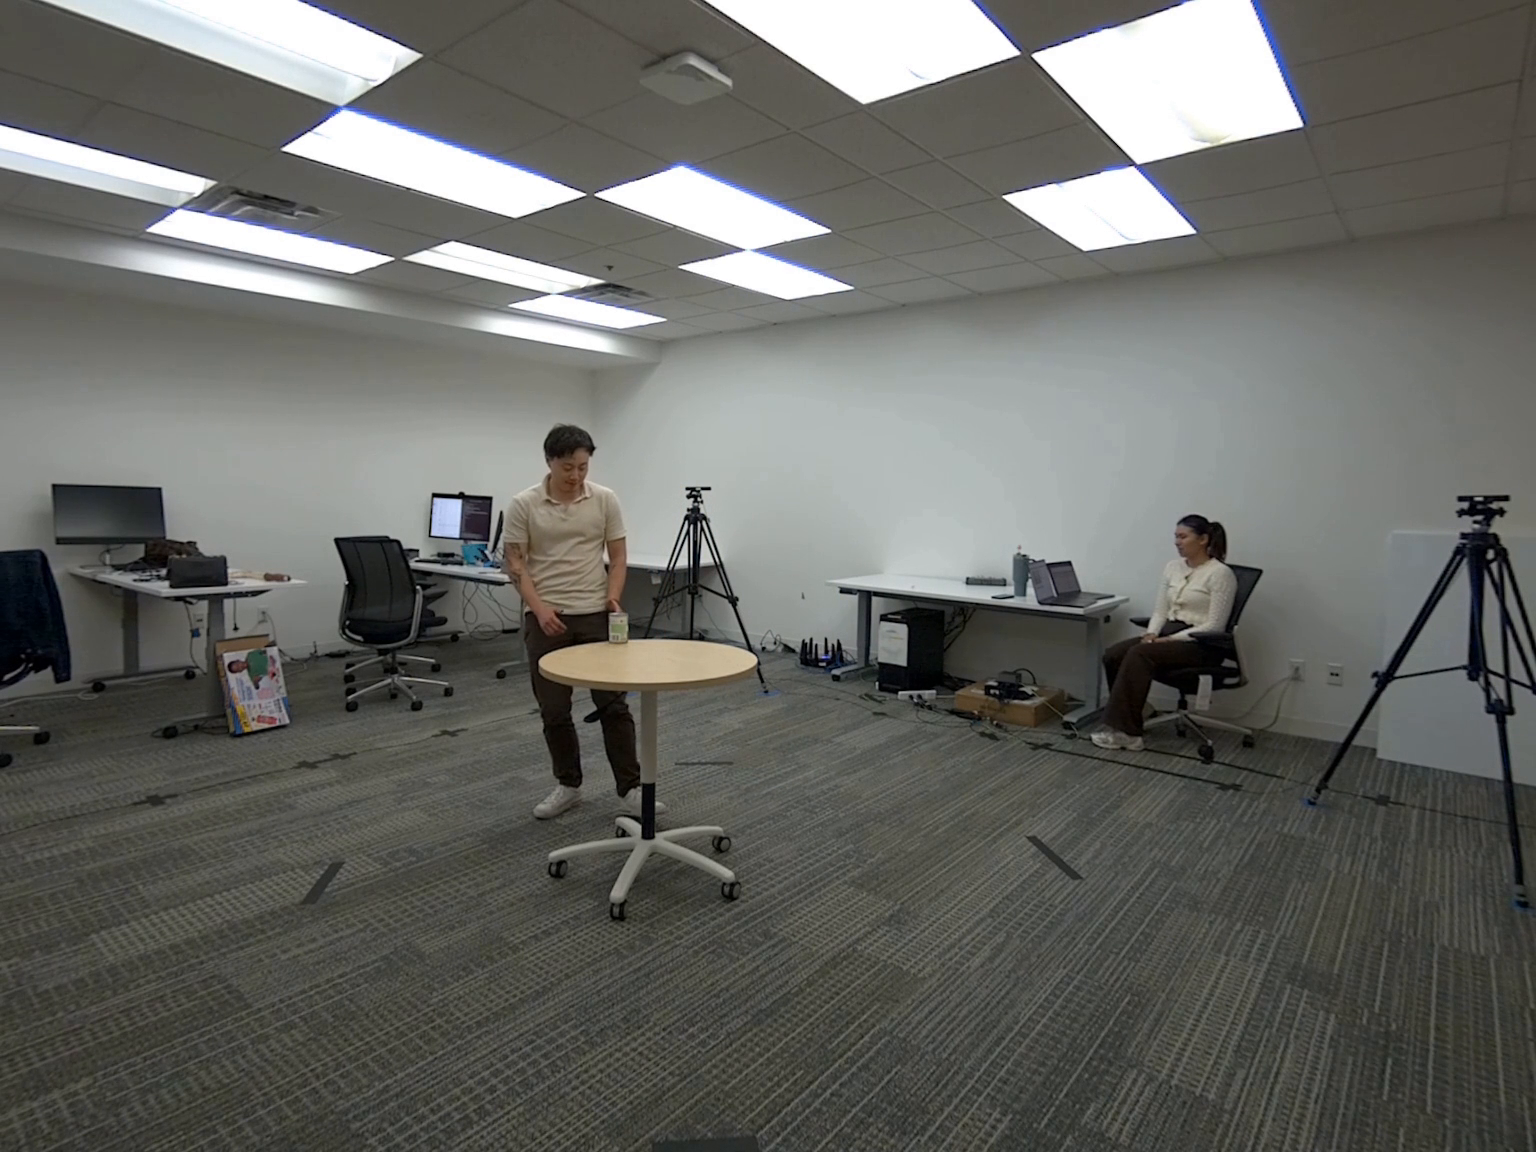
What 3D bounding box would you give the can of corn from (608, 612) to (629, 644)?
[{"bbox_3d":[-0.596,0.203,3.307,0.074,0.111,0.074,-2,2,-2],"label":"can of corn"}]
